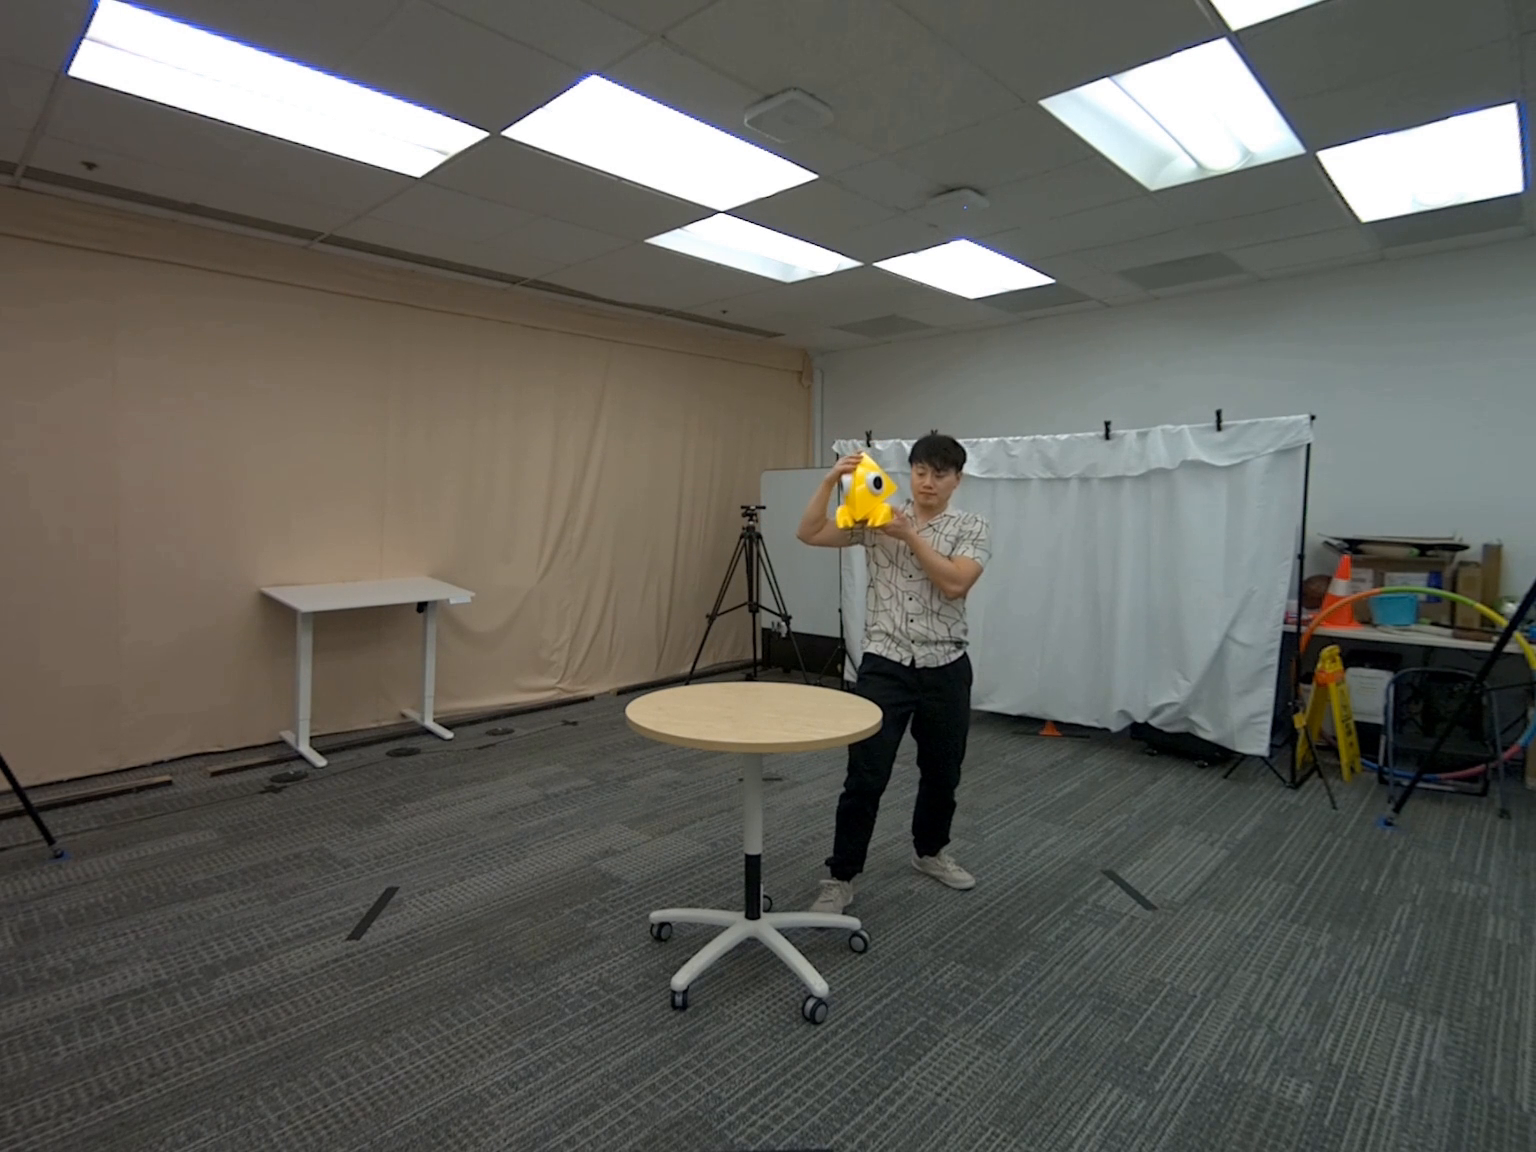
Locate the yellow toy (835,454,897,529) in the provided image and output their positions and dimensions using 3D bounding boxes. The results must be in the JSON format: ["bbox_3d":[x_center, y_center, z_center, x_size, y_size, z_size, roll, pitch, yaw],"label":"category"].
[{"bbox_3d":[0.330,-0.304,2.916,0.210,0.228,0.191,-1,19,26],"label":"yellow toy"}]
